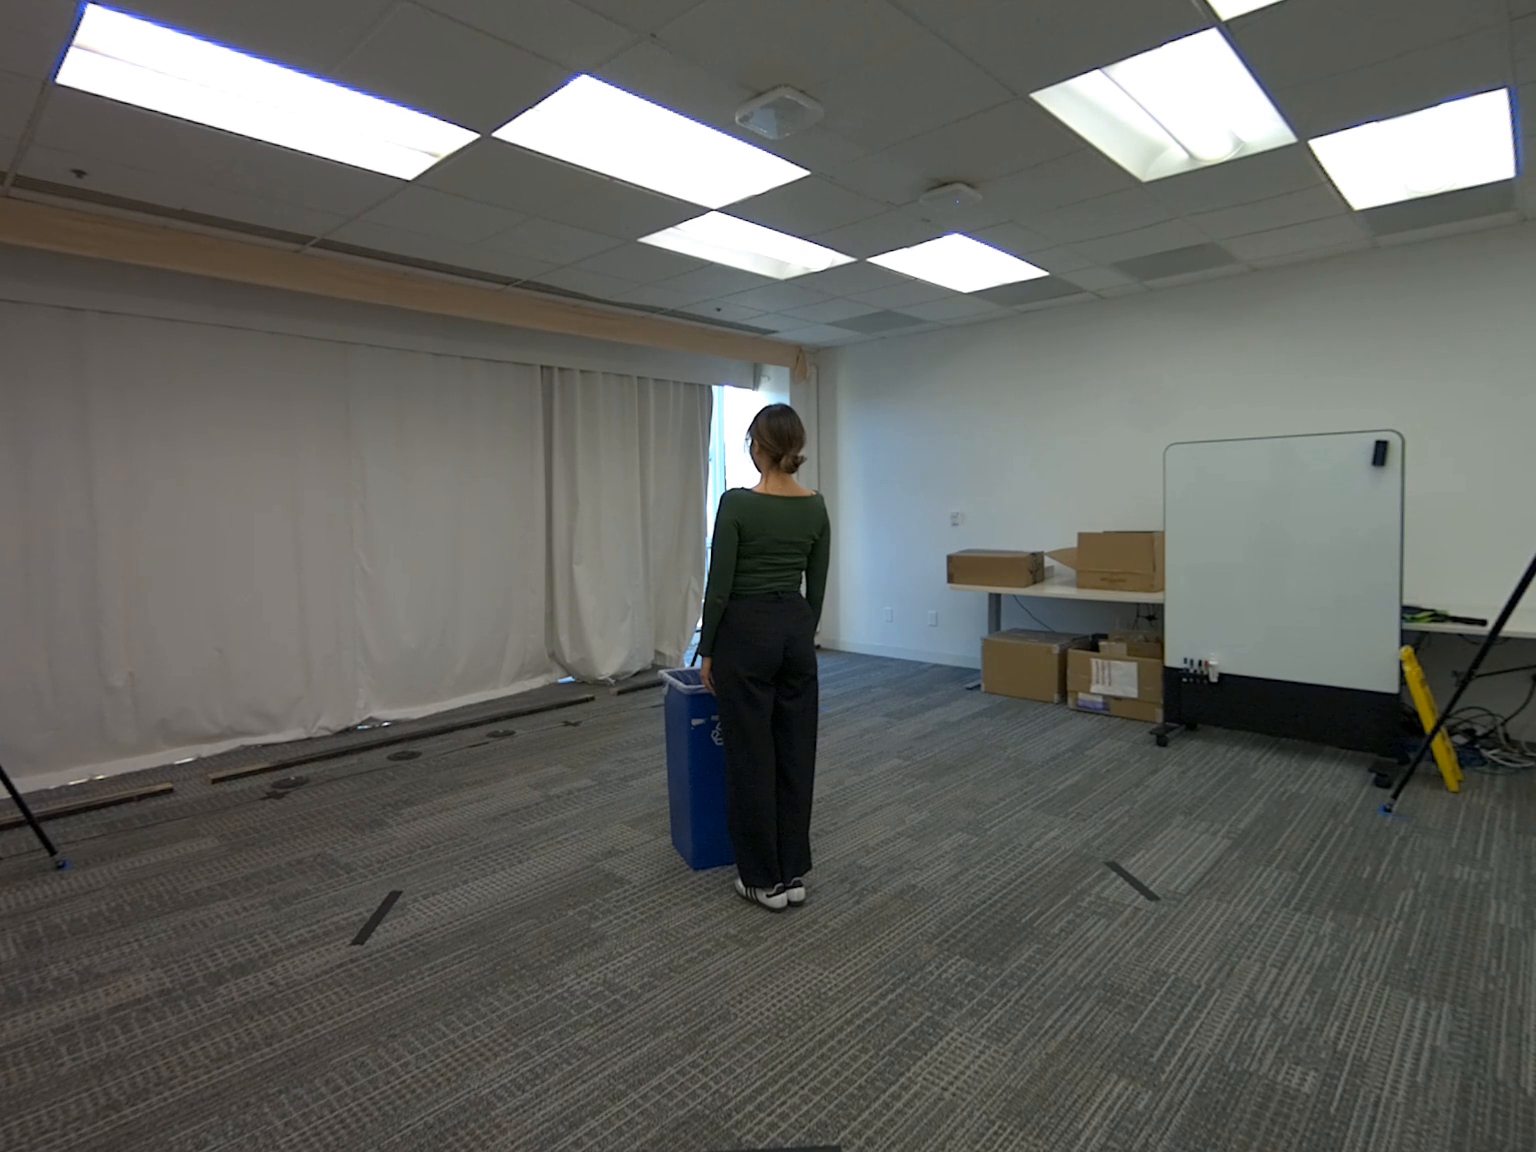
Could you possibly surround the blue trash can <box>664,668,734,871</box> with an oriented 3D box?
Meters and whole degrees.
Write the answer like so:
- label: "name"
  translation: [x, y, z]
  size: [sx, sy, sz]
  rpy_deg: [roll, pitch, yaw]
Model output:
- label: "blue trash can"
  translation: [-0.215, 0.746, 3.375]
  size: [0.370, 0.712, 0.383]
  rpy_deg: [-2, 4, -22]
